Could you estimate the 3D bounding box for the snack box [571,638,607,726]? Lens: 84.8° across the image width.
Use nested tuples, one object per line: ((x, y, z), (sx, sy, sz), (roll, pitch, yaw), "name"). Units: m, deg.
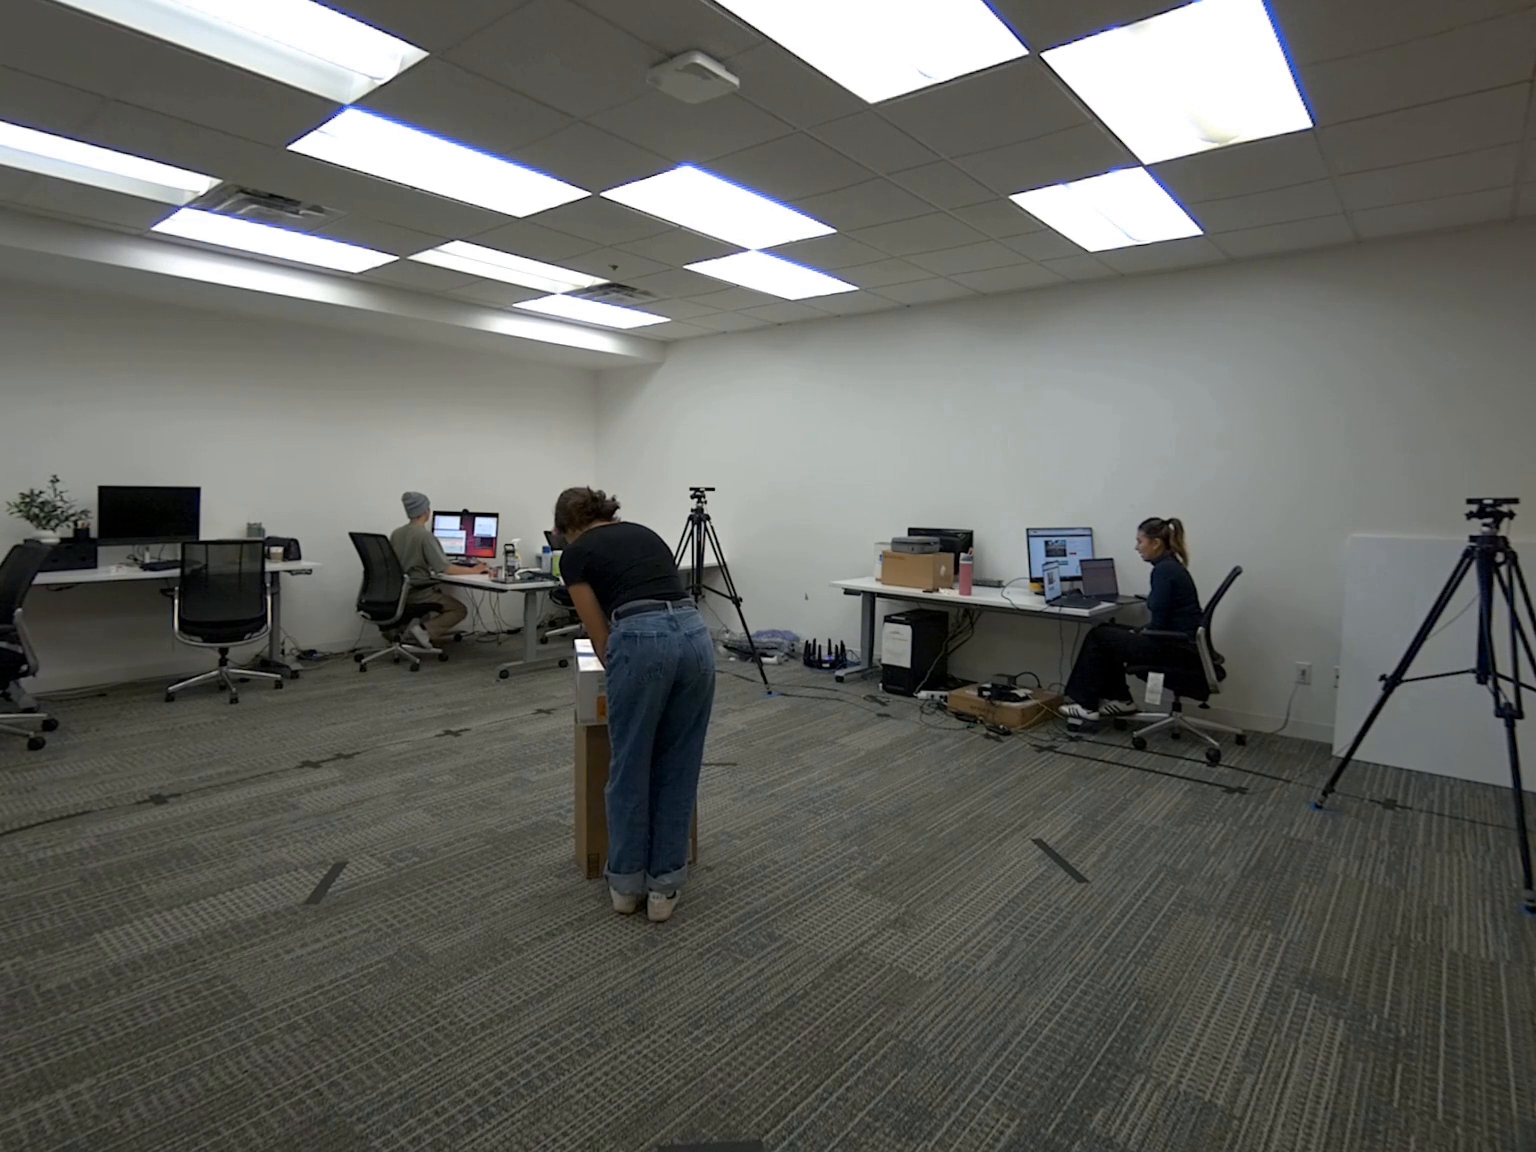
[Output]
((-0.505, 0.368, 3.109), (0.399, 0.203, 0.349), (-1, 13, -14), "snack box")
